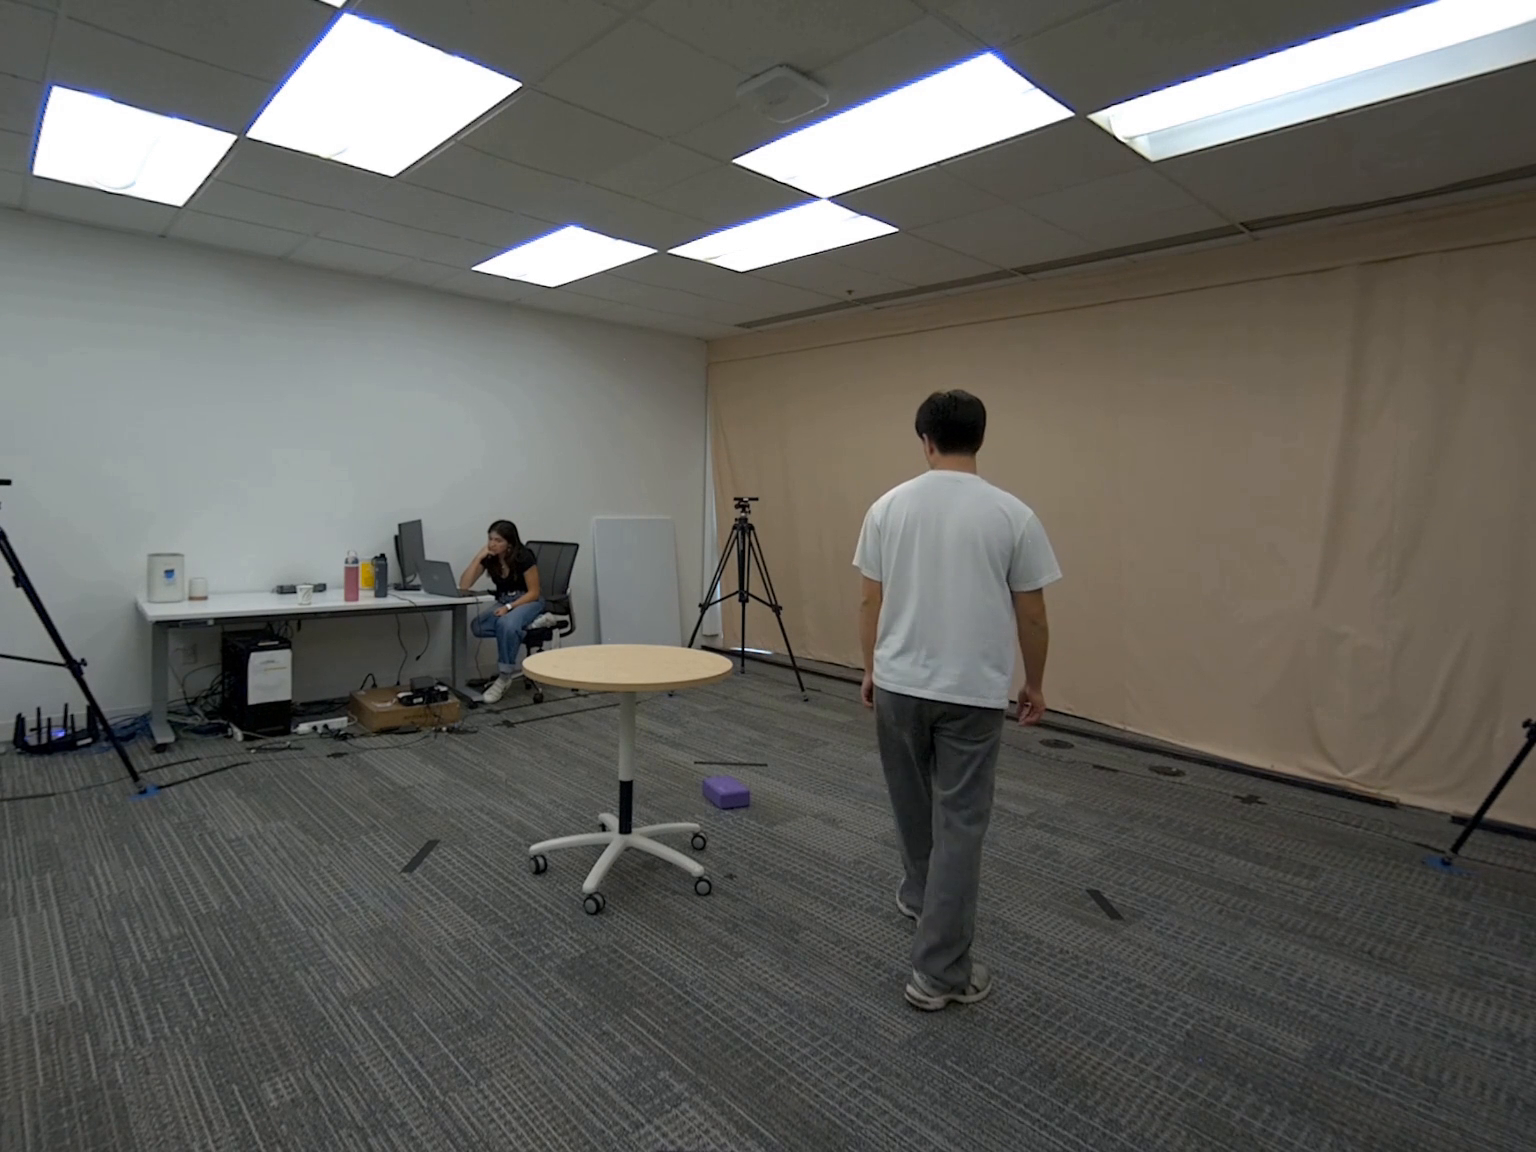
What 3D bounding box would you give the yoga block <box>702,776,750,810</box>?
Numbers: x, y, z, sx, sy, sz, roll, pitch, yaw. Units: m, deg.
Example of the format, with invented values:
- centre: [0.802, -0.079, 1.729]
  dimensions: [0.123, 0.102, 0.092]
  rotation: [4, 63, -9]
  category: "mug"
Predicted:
- centre: [-0.207, 1.002, 3.892]
  dimensions: [0.146, 0.076, 0.234]
  rotation: [-1, 5, -26]
  category: "yoga block"
